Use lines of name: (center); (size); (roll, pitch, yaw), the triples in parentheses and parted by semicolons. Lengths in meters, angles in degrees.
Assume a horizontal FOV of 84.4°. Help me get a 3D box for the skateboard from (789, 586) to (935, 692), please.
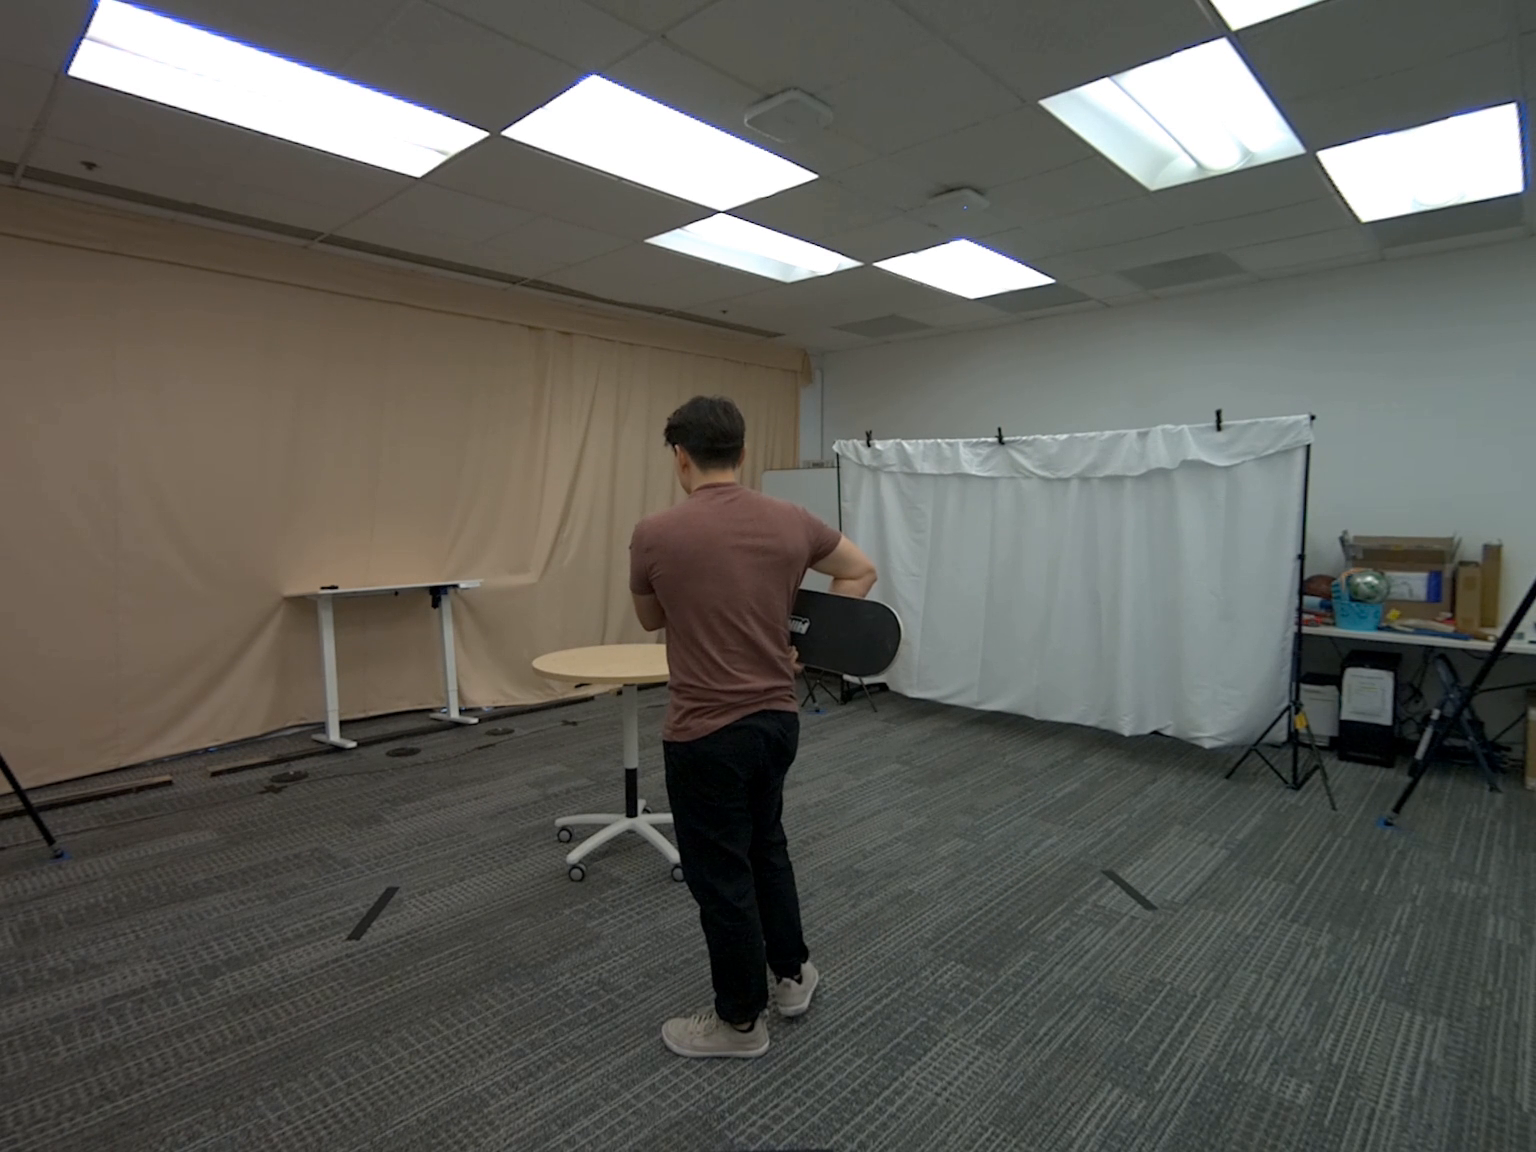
skateboard: (0.051, 0.124, 2.272); (0.813, 0.194, 0.106); (9, -6, 43)
